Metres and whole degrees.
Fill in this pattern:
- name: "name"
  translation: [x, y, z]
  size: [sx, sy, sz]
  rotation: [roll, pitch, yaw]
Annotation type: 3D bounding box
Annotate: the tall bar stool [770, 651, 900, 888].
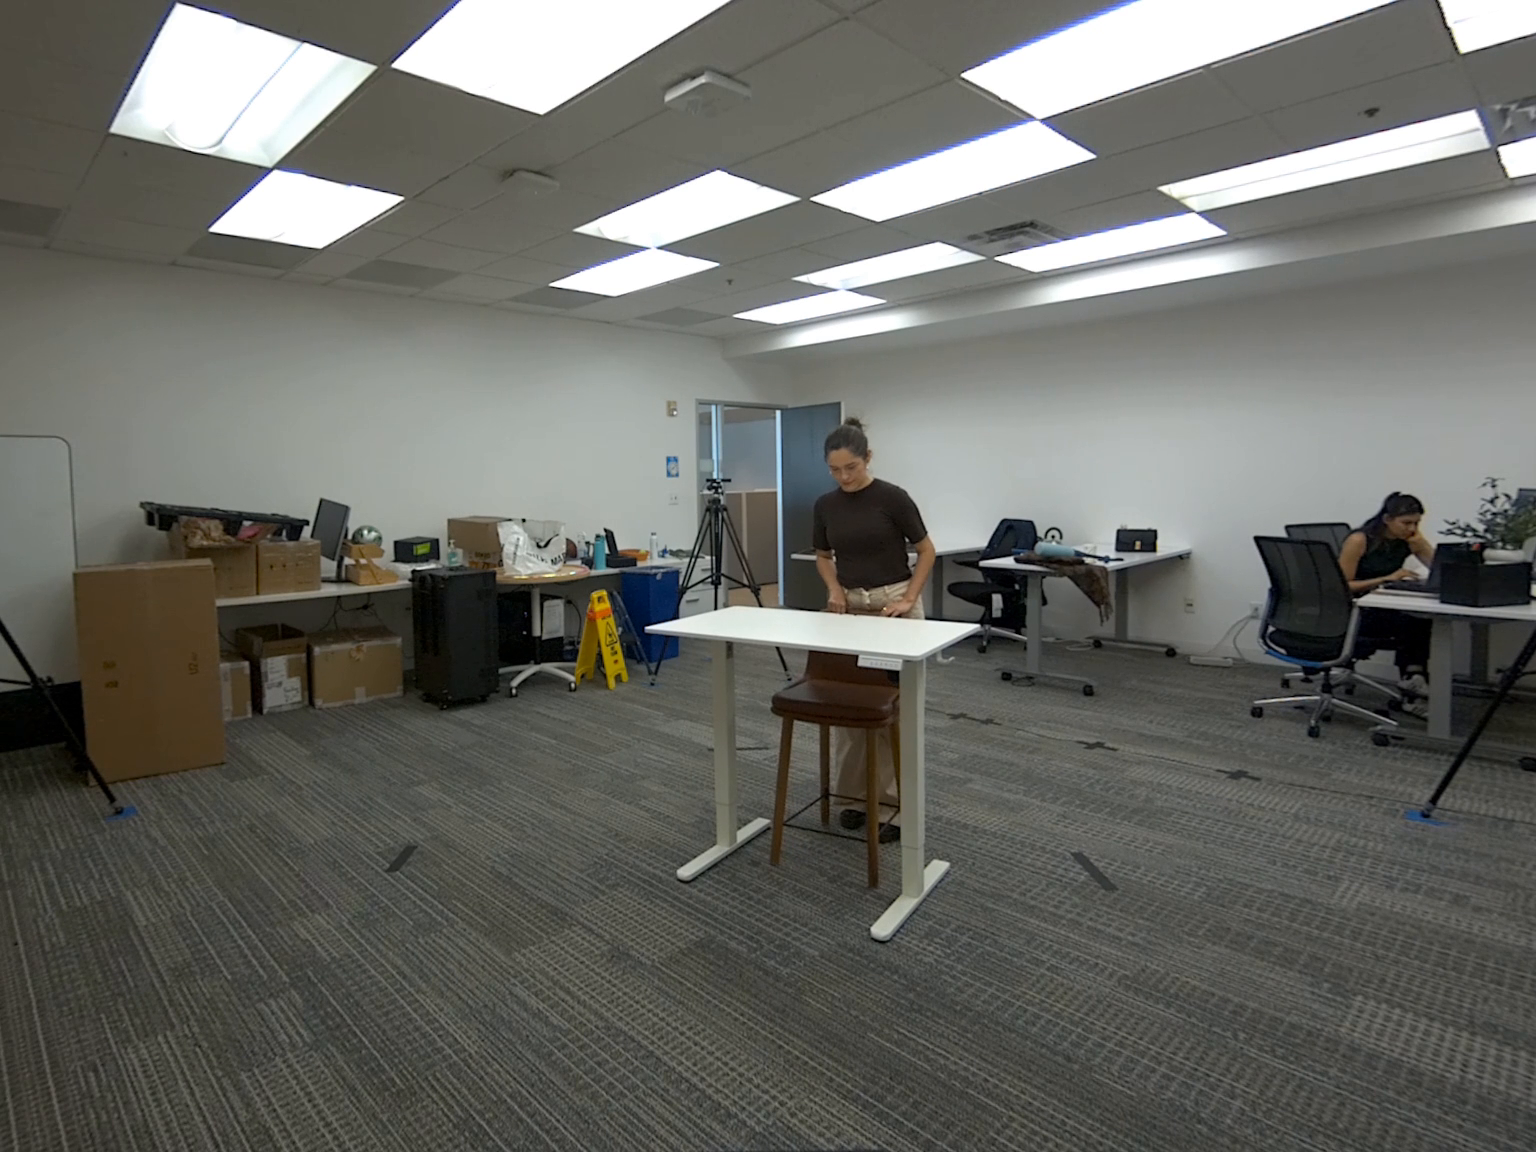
- name: "tall bar stool"
  translation: [0.285, 0.597, 3.165]
  size: [0.468, 0.889, 0.456]
  rotation: [2, 2, 30]
